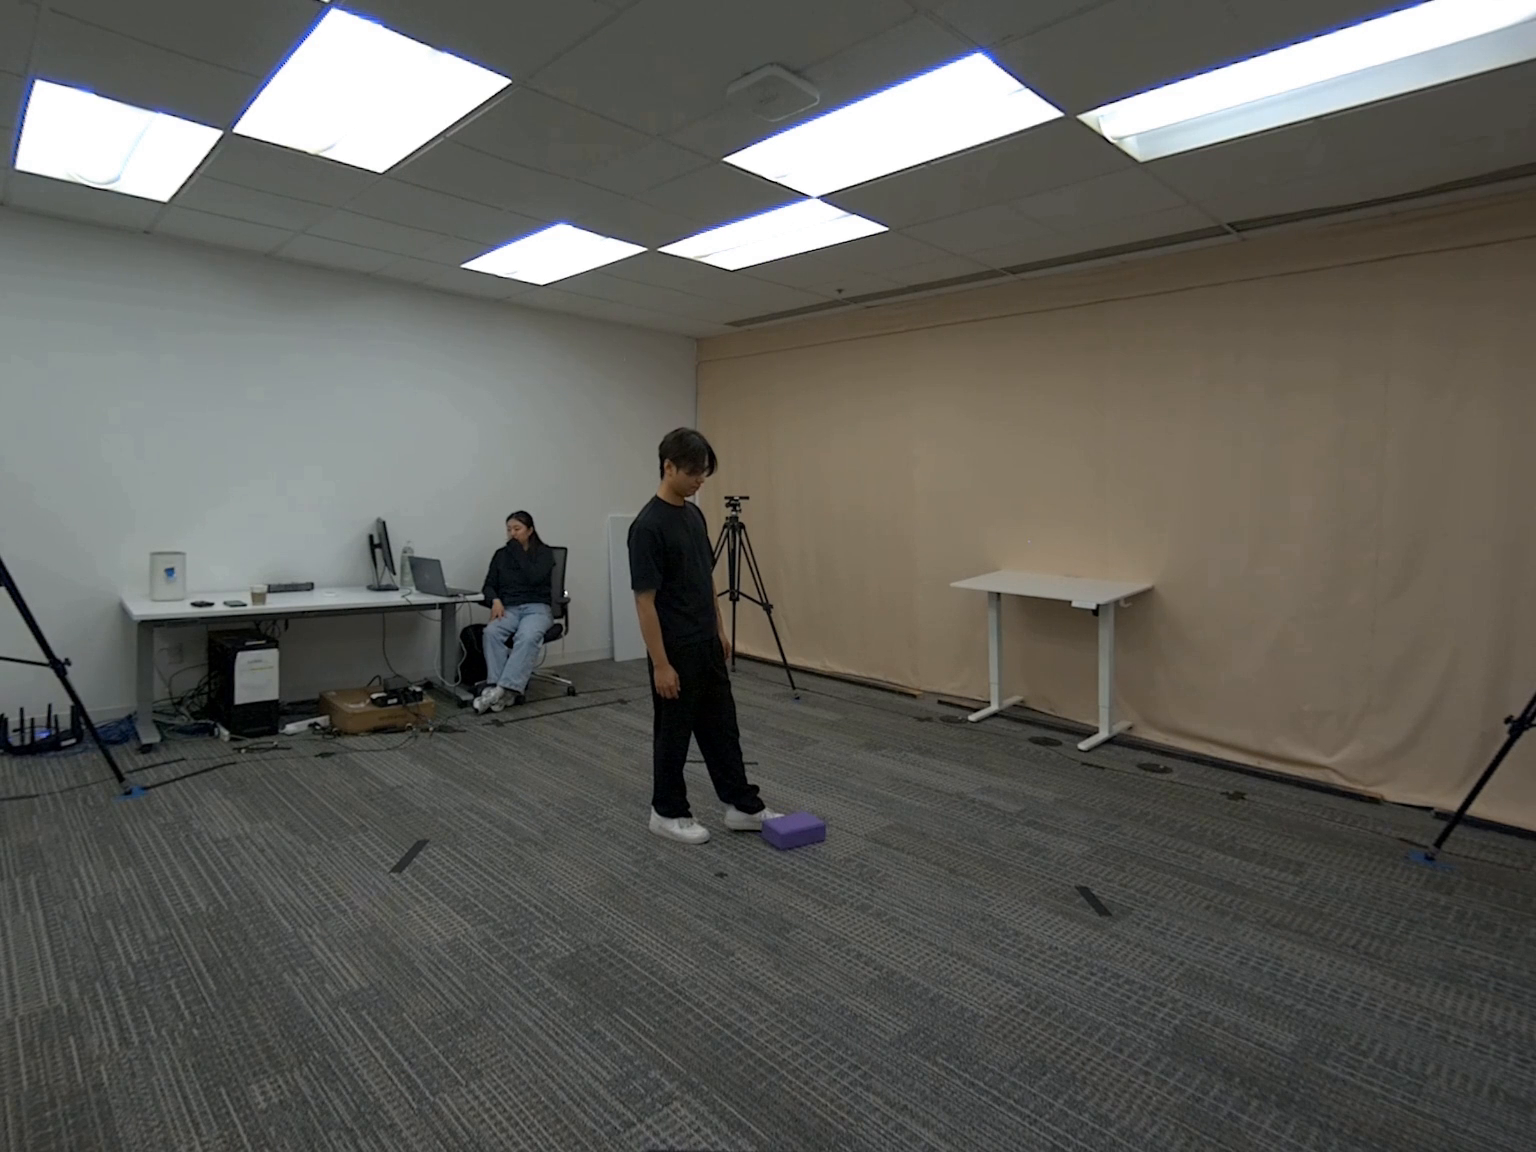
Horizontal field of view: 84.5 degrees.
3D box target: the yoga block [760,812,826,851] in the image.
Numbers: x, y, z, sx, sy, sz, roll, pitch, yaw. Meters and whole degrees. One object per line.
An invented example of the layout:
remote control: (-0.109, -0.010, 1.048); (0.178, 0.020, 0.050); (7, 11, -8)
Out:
yoga block: (0.095, 1.037, 3.442); (0.224, 0.076, 0.153); (-1, 8, -32)
